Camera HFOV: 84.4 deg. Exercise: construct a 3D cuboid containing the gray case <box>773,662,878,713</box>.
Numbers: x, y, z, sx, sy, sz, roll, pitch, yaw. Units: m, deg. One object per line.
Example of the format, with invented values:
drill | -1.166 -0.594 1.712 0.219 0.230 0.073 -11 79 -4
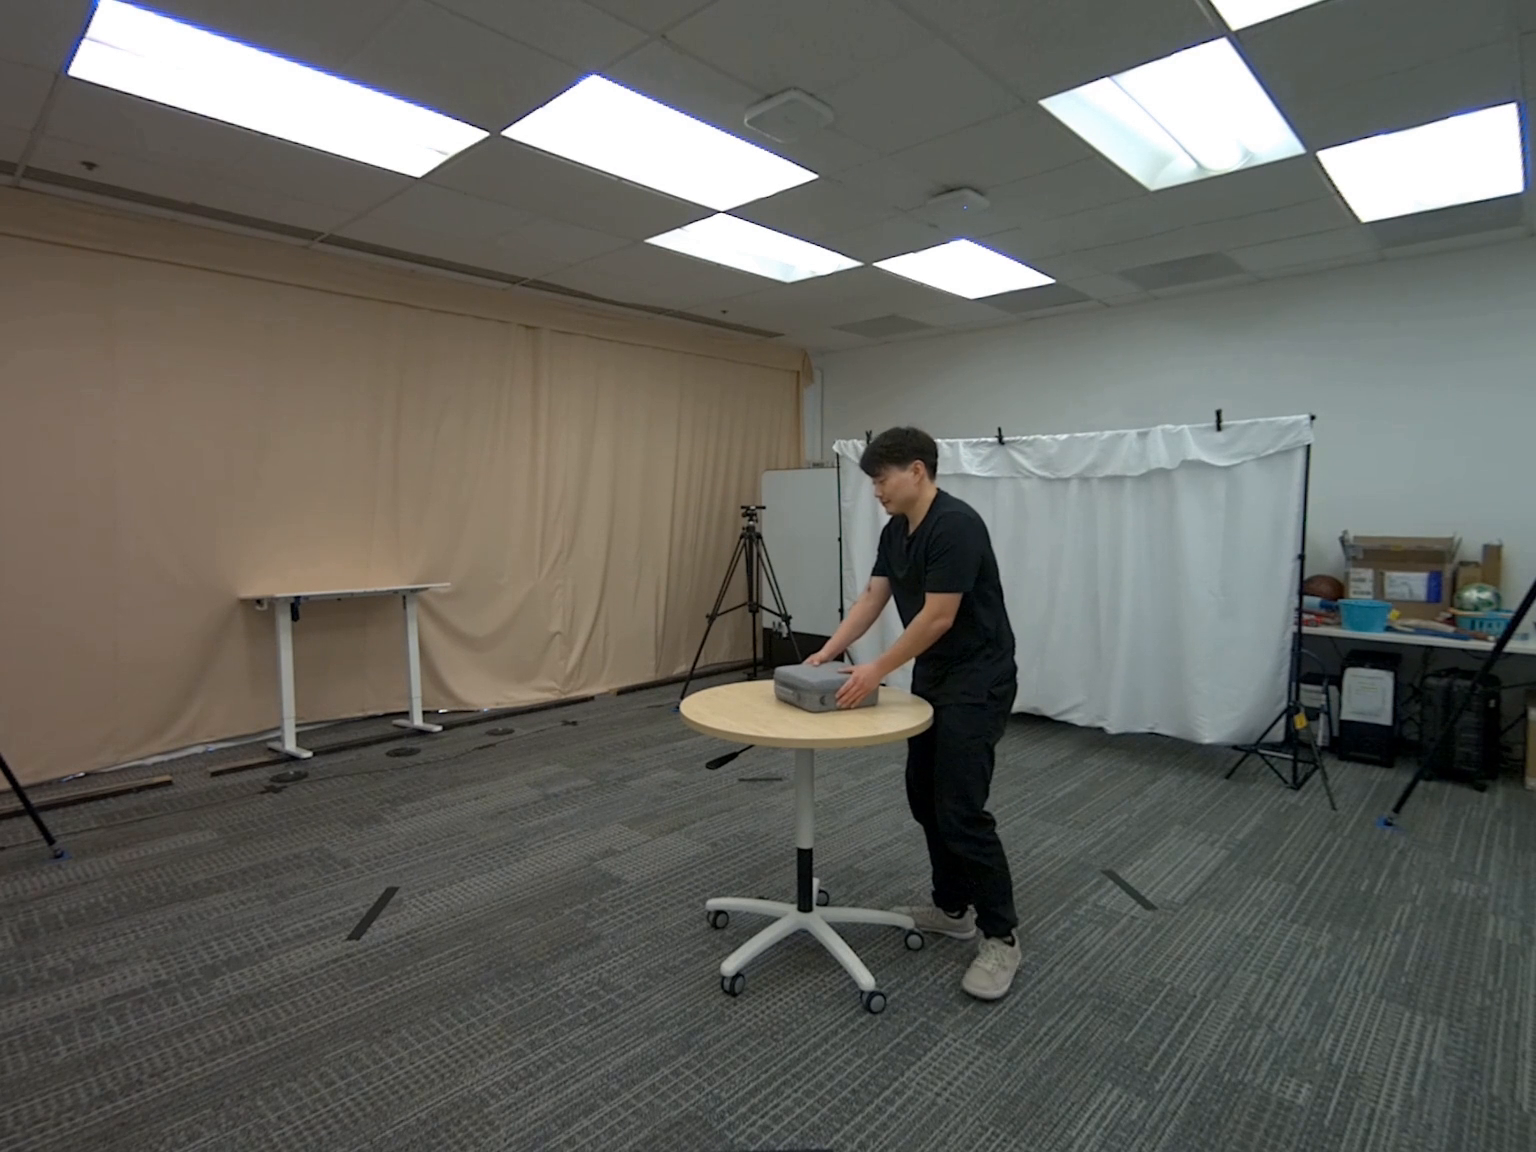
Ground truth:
gray case | 0.174 0.341 2.619 0.254 0.104 0.264 -3 6 -25
